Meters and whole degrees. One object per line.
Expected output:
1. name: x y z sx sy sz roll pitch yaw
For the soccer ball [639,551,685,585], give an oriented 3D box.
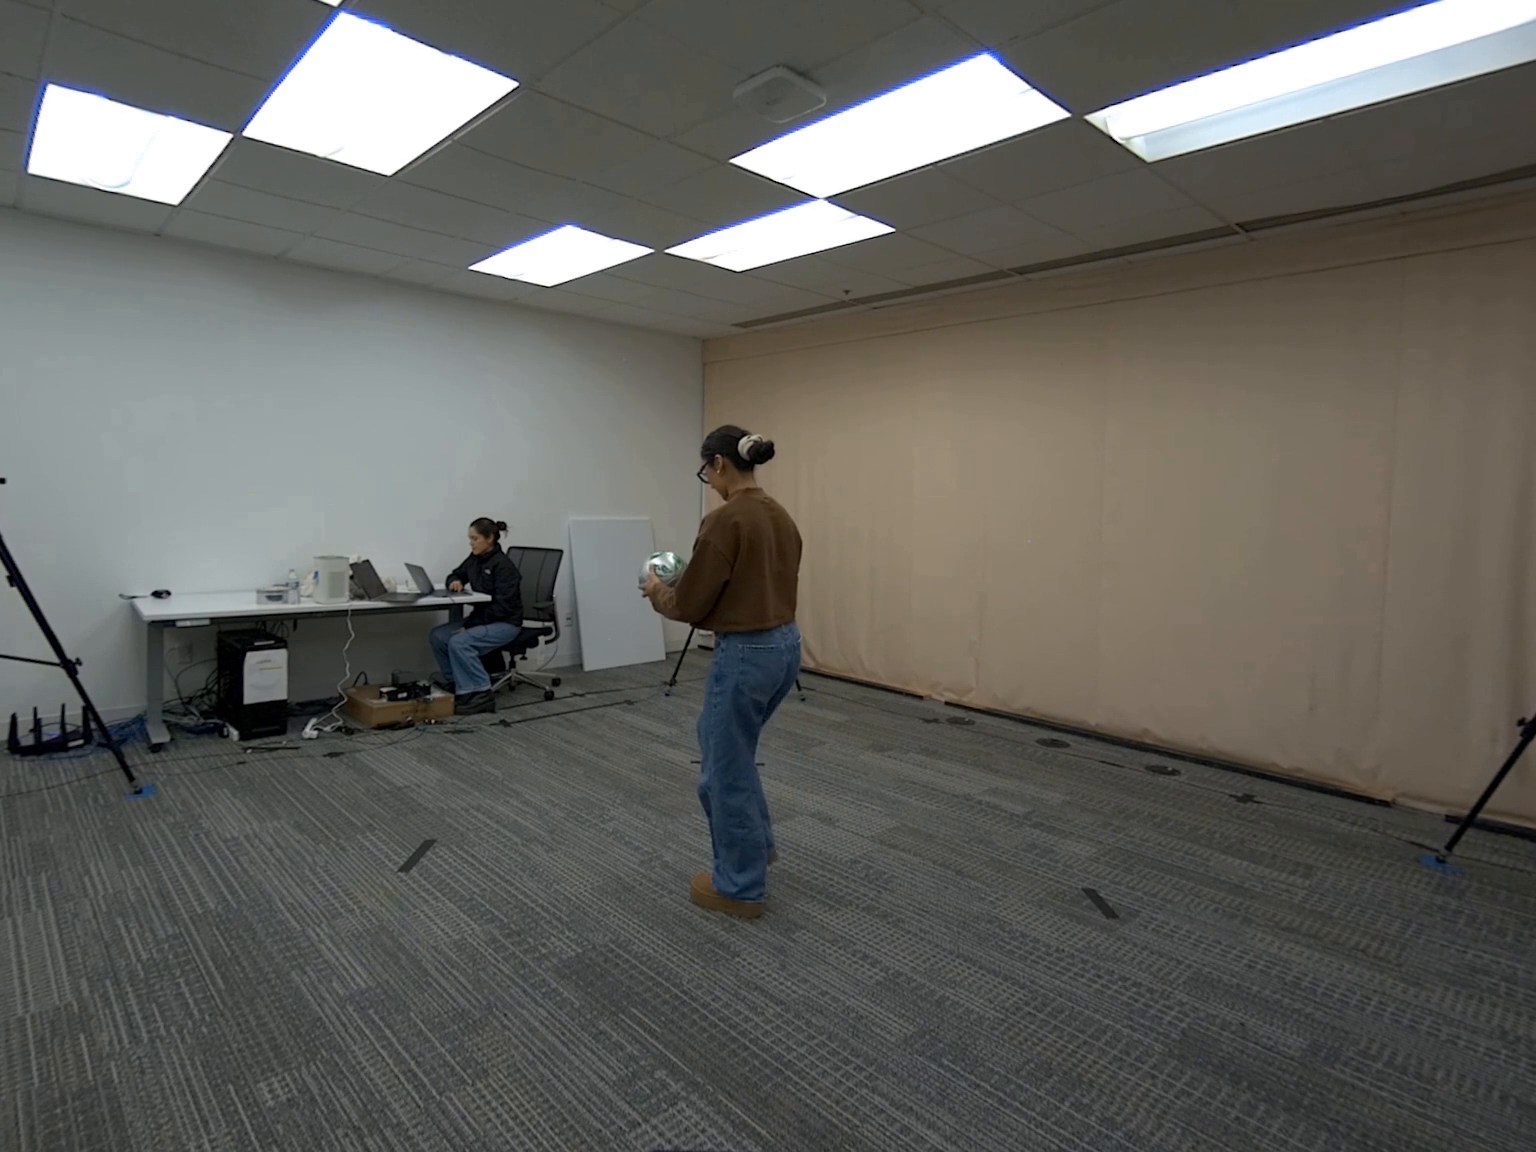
1. soccer ball: -0.370 0.005 3.027 0.187 0.187 0.188 1 4 -1
